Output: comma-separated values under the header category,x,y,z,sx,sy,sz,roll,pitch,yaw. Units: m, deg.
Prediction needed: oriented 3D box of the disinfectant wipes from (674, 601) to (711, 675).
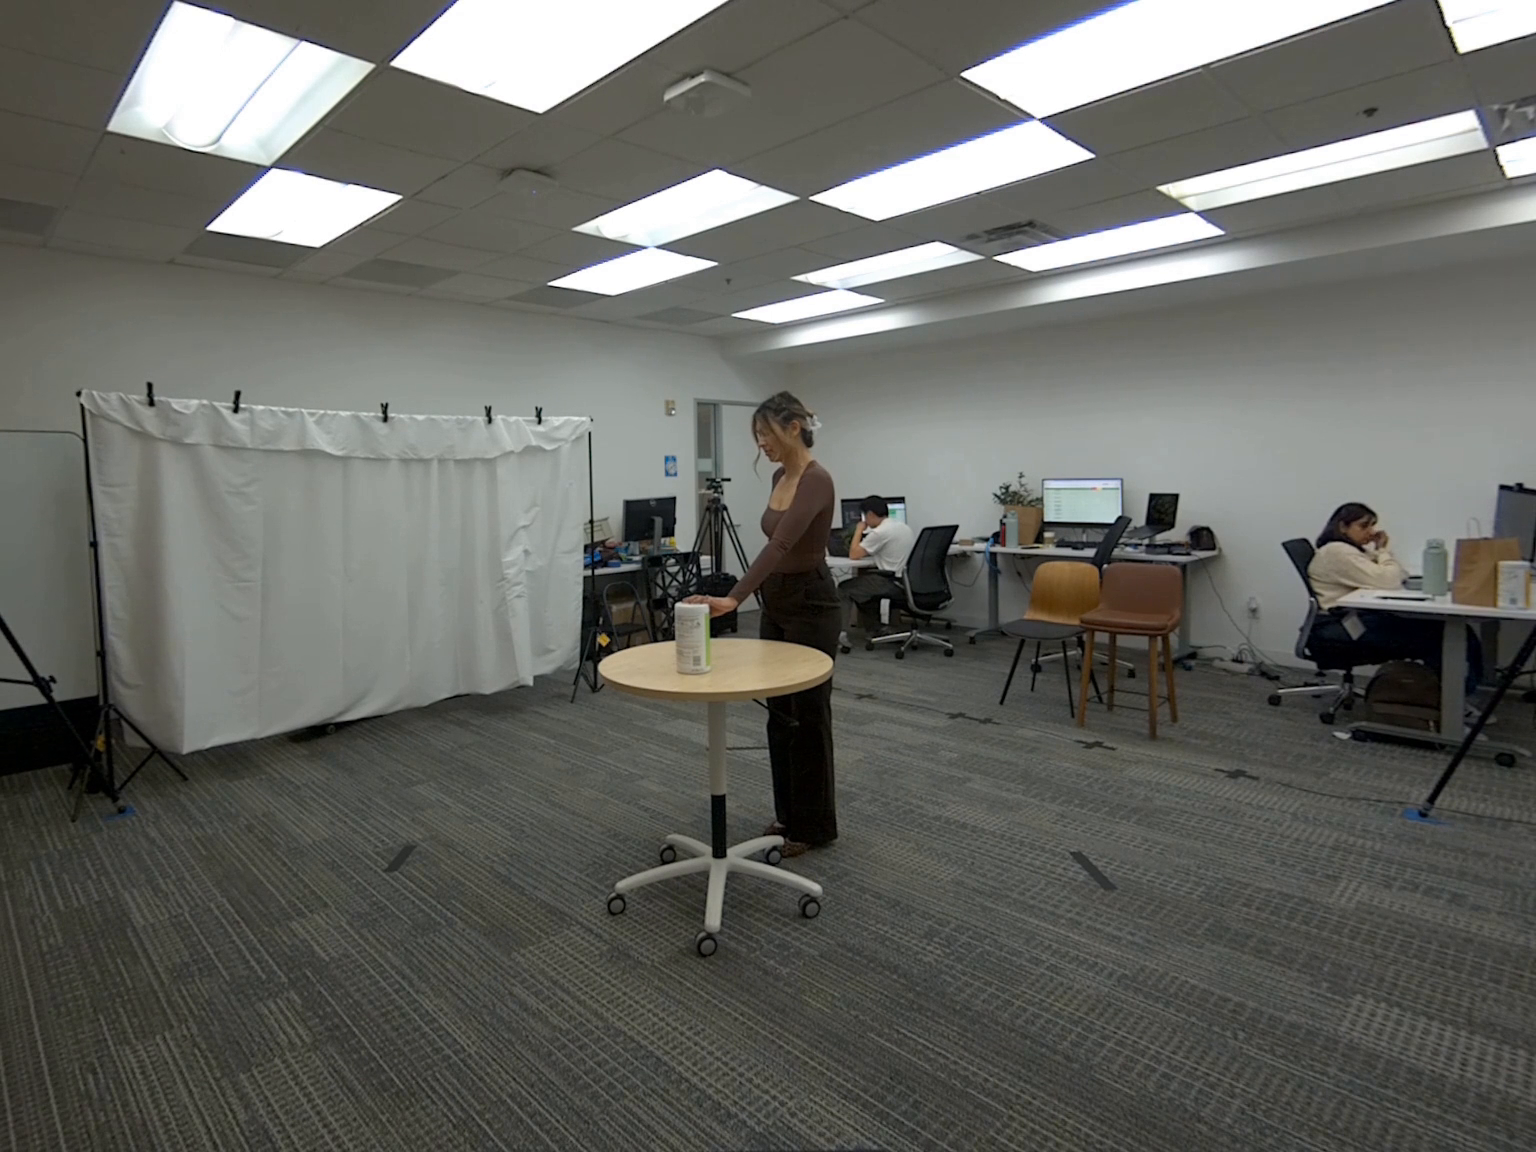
category,x,y,z,sx,sy,sz,roll,pitch,yaw
disinfectant wipes,-0.230,0.194,2.671,0.118,0.217,0.118,-1,3,-2
